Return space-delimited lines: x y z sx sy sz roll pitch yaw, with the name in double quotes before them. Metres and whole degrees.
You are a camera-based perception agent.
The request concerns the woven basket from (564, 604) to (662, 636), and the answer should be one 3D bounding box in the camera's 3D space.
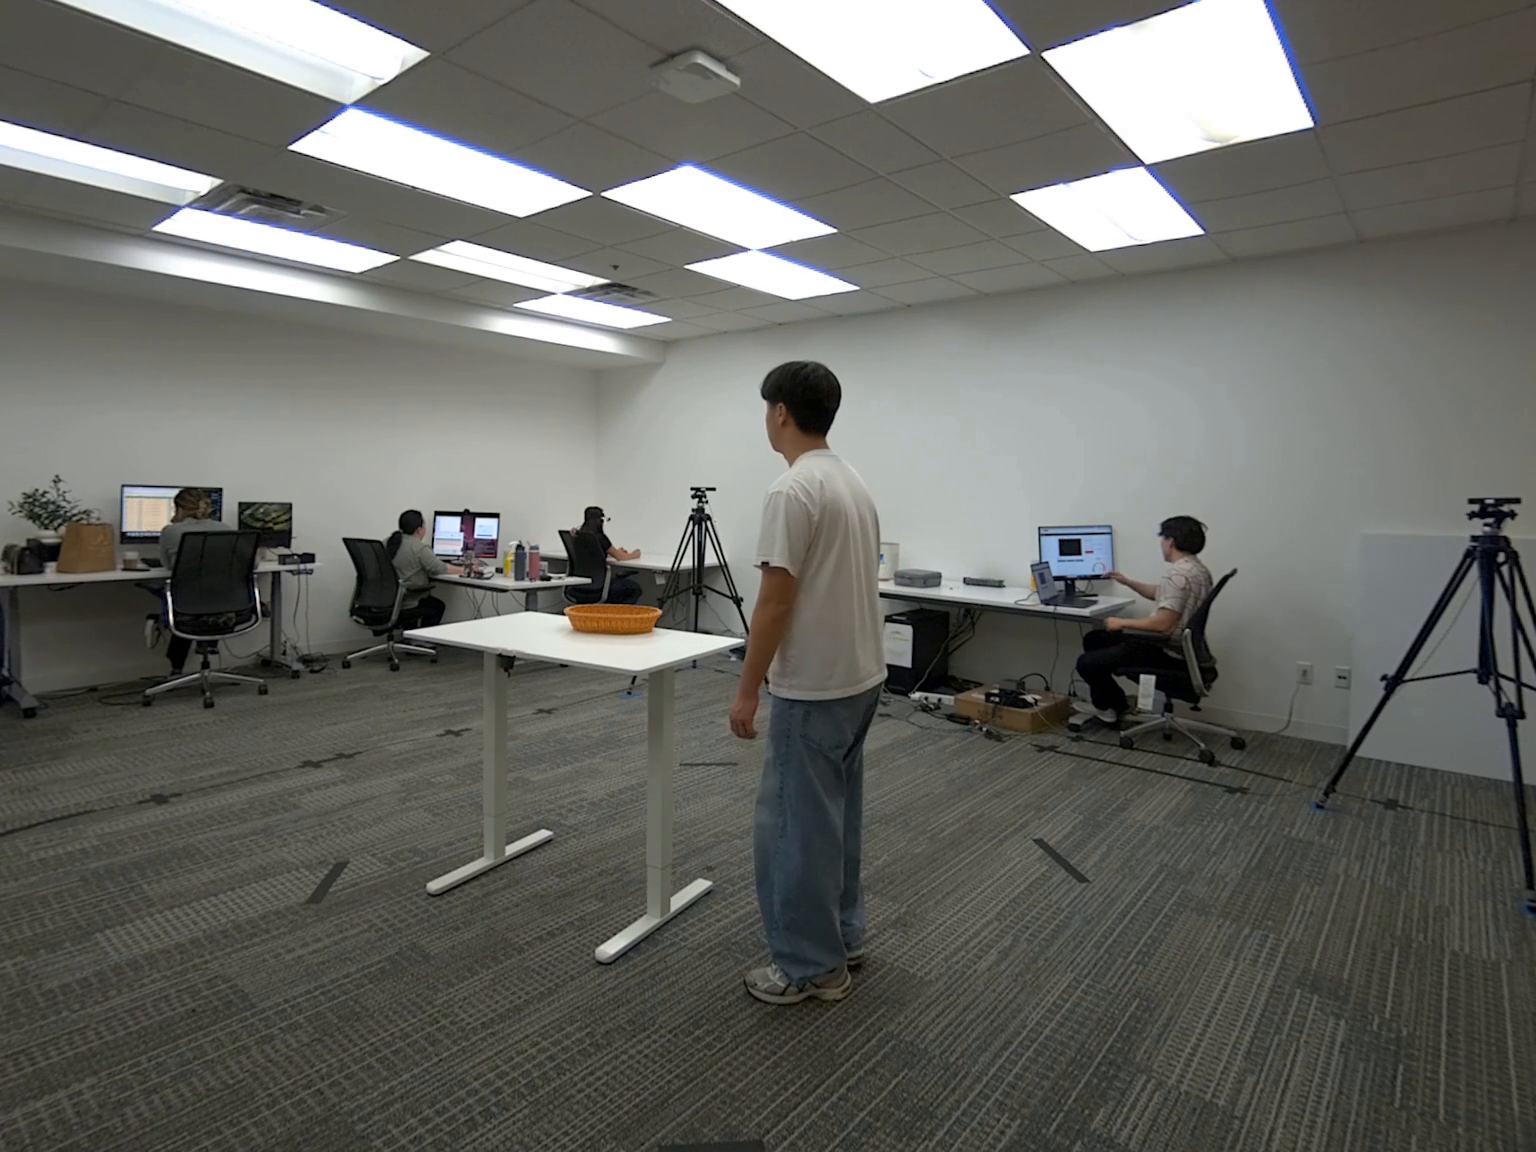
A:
"woven basket" -0.569 0.159 3.000 0.355 0.073 0.250 2 6 12
